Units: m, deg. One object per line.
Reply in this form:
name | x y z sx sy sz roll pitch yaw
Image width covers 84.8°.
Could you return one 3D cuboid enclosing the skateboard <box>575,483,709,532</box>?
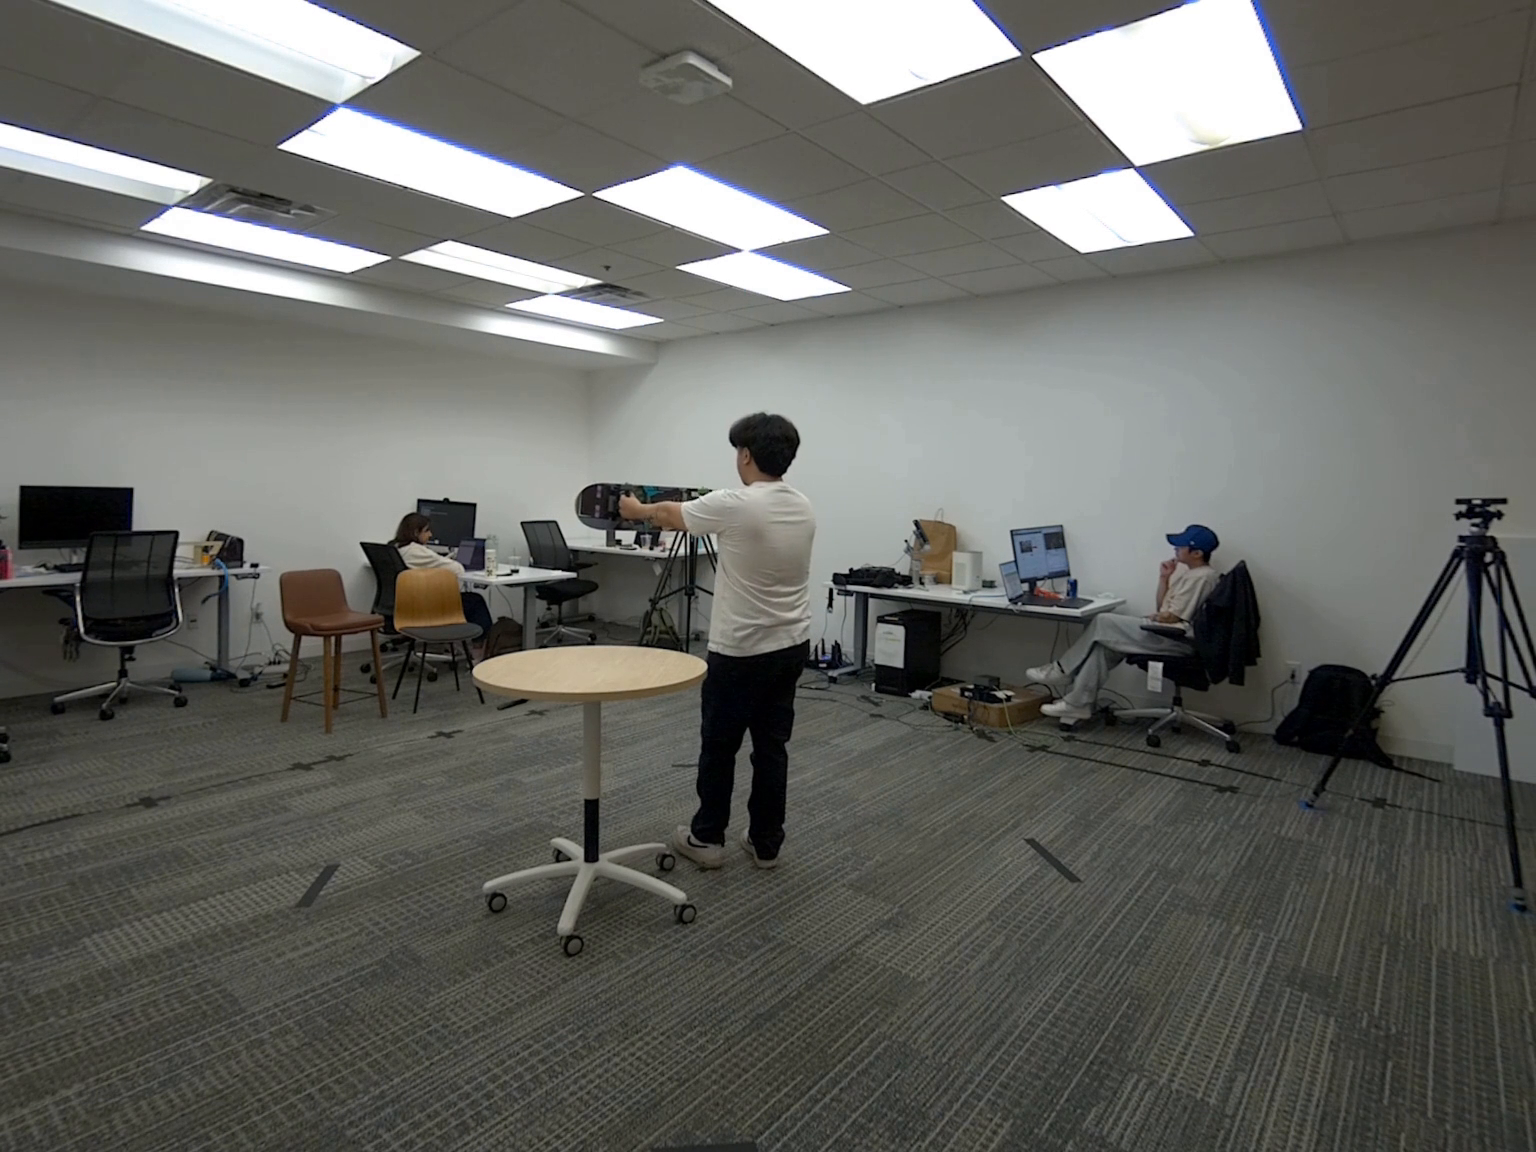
skateboard | -0.458 -0.287 3.591 0.761 0.193 0.114 -1 1 -41
